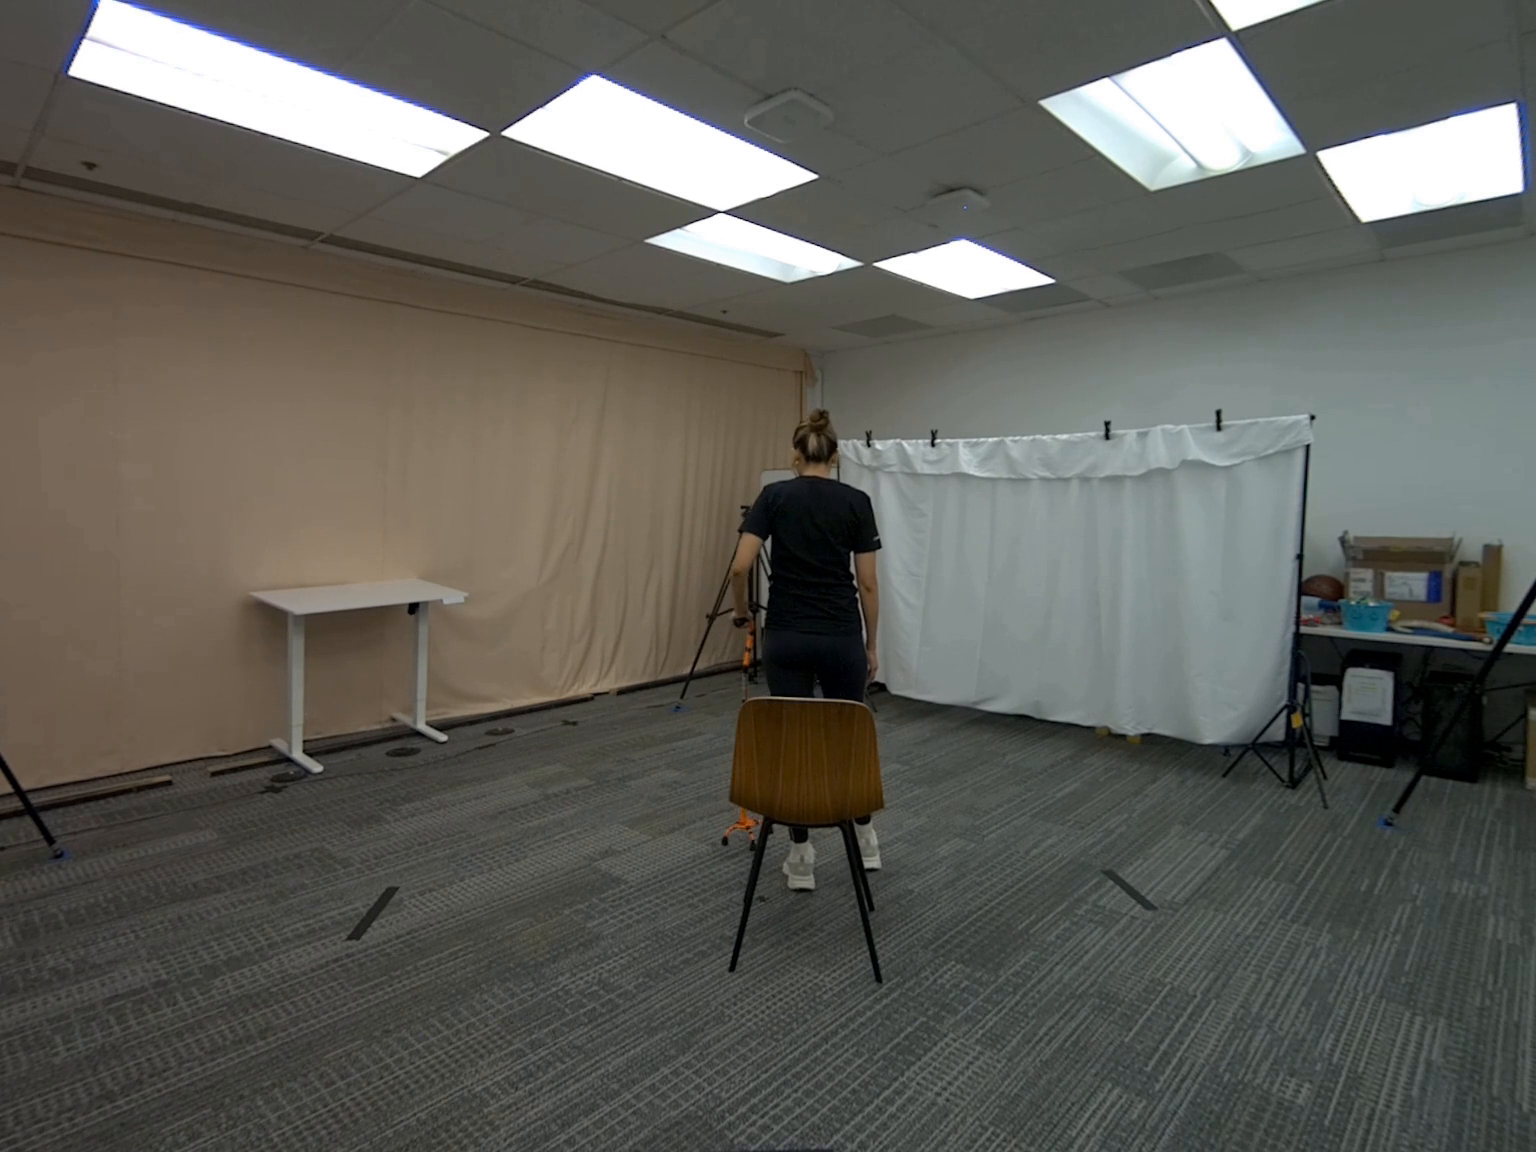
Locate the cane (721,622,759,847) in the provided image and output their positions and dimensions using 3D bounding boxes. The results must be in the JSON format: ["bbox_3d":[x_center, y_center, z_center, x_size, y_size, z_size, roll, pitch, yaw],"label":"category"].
[{"bbox_3d":[-0.078,0.614,3.344,0.156,0.905,0.201,3,6,29],"label":"cane"}]
